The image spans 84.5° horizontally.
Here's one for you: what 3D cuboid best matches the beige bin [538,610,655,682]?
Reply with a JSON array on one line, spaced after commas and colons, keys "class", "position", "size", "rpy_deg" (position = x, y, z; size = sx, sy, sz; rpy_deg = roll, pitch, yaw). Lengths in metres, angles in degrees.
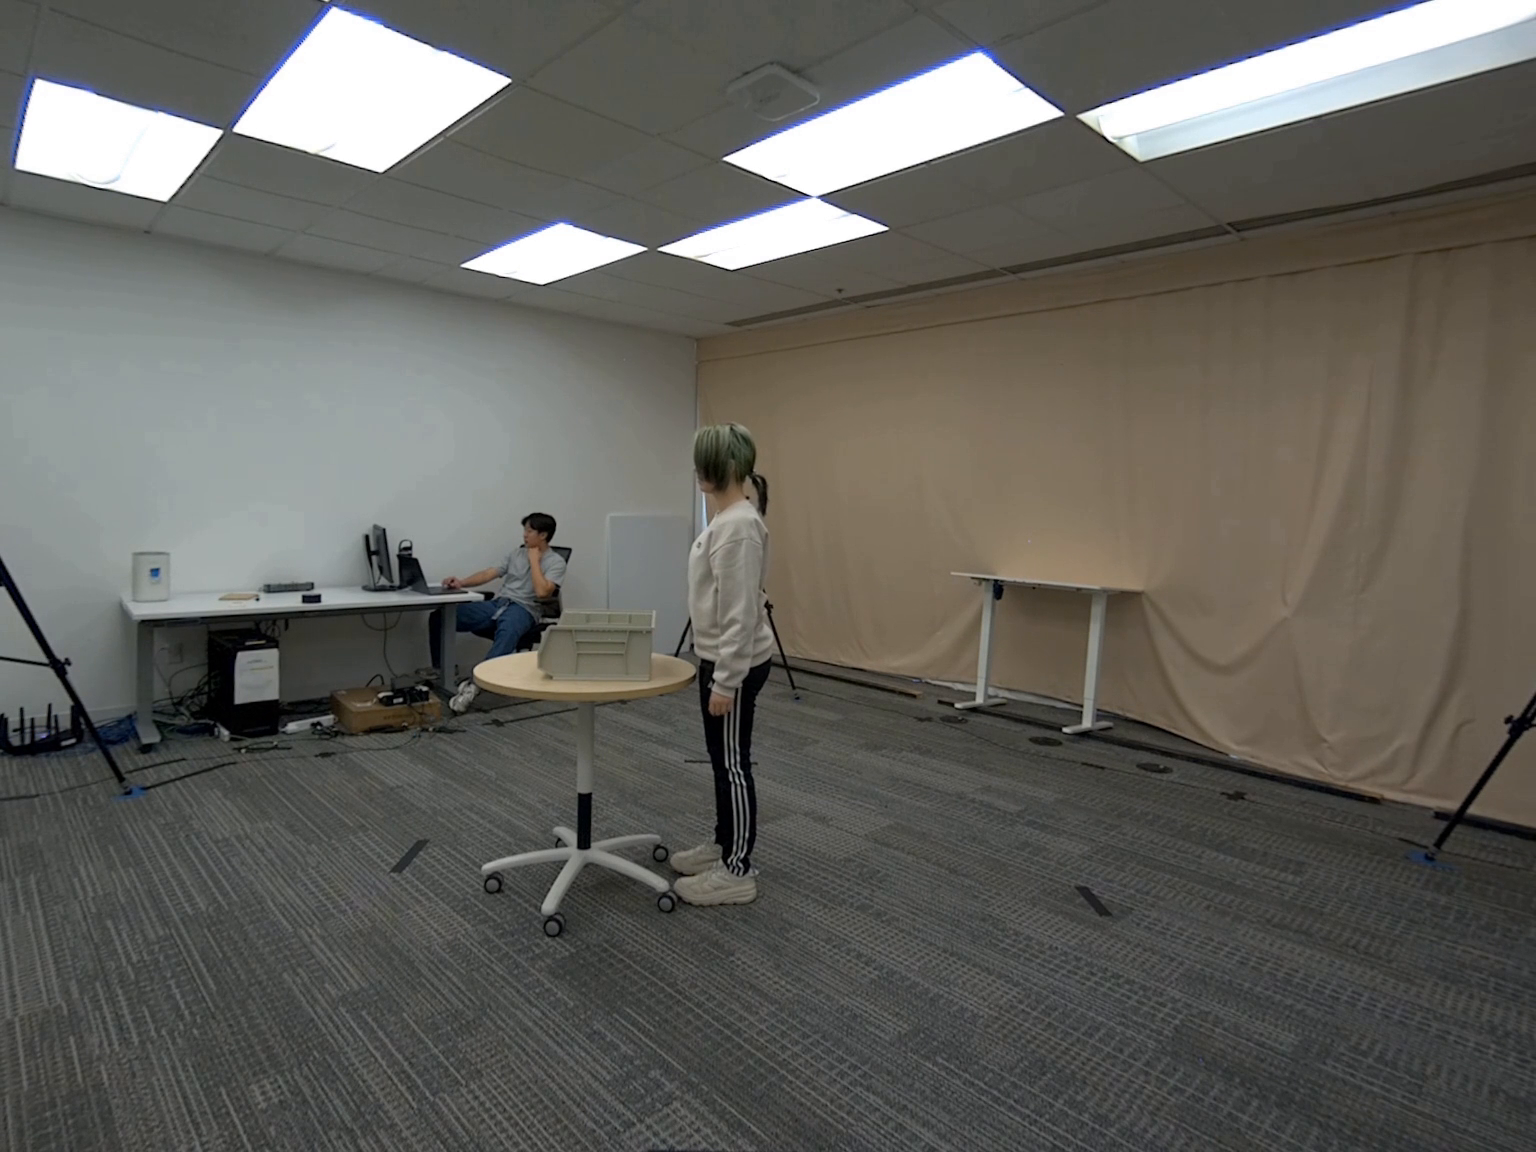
[{"class": "beige bin", "position": [-0.585, 0.235, 2.948], "size": [0.375, 0.188, 0.425], "rpy_deg": [2, 4, -7]}]
